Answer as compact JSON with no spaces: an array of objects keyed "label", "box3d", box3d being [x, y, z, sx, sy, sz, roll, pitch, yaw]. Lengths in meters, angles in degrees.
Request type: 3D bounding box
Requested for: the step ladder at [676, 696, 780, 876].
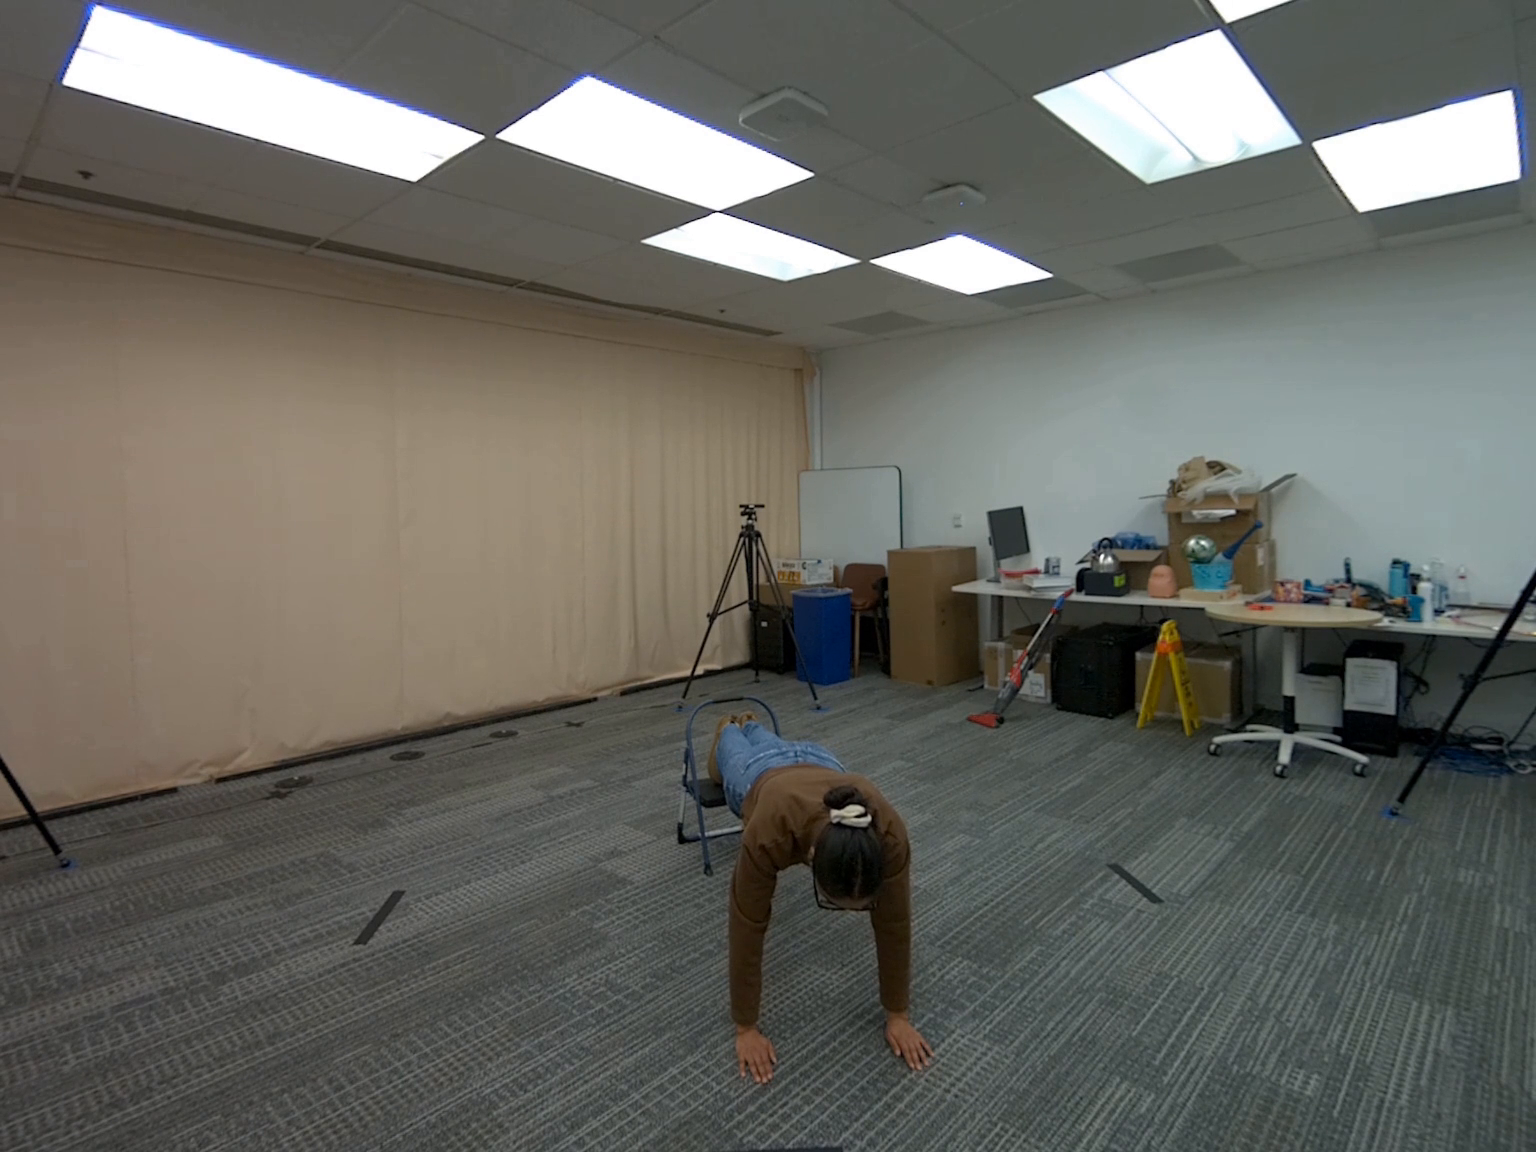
[{"label":"step ladder","box3d":[-0.122,0.805,3.396,0.420,0.605,0.358,-3,4,-25]}]
